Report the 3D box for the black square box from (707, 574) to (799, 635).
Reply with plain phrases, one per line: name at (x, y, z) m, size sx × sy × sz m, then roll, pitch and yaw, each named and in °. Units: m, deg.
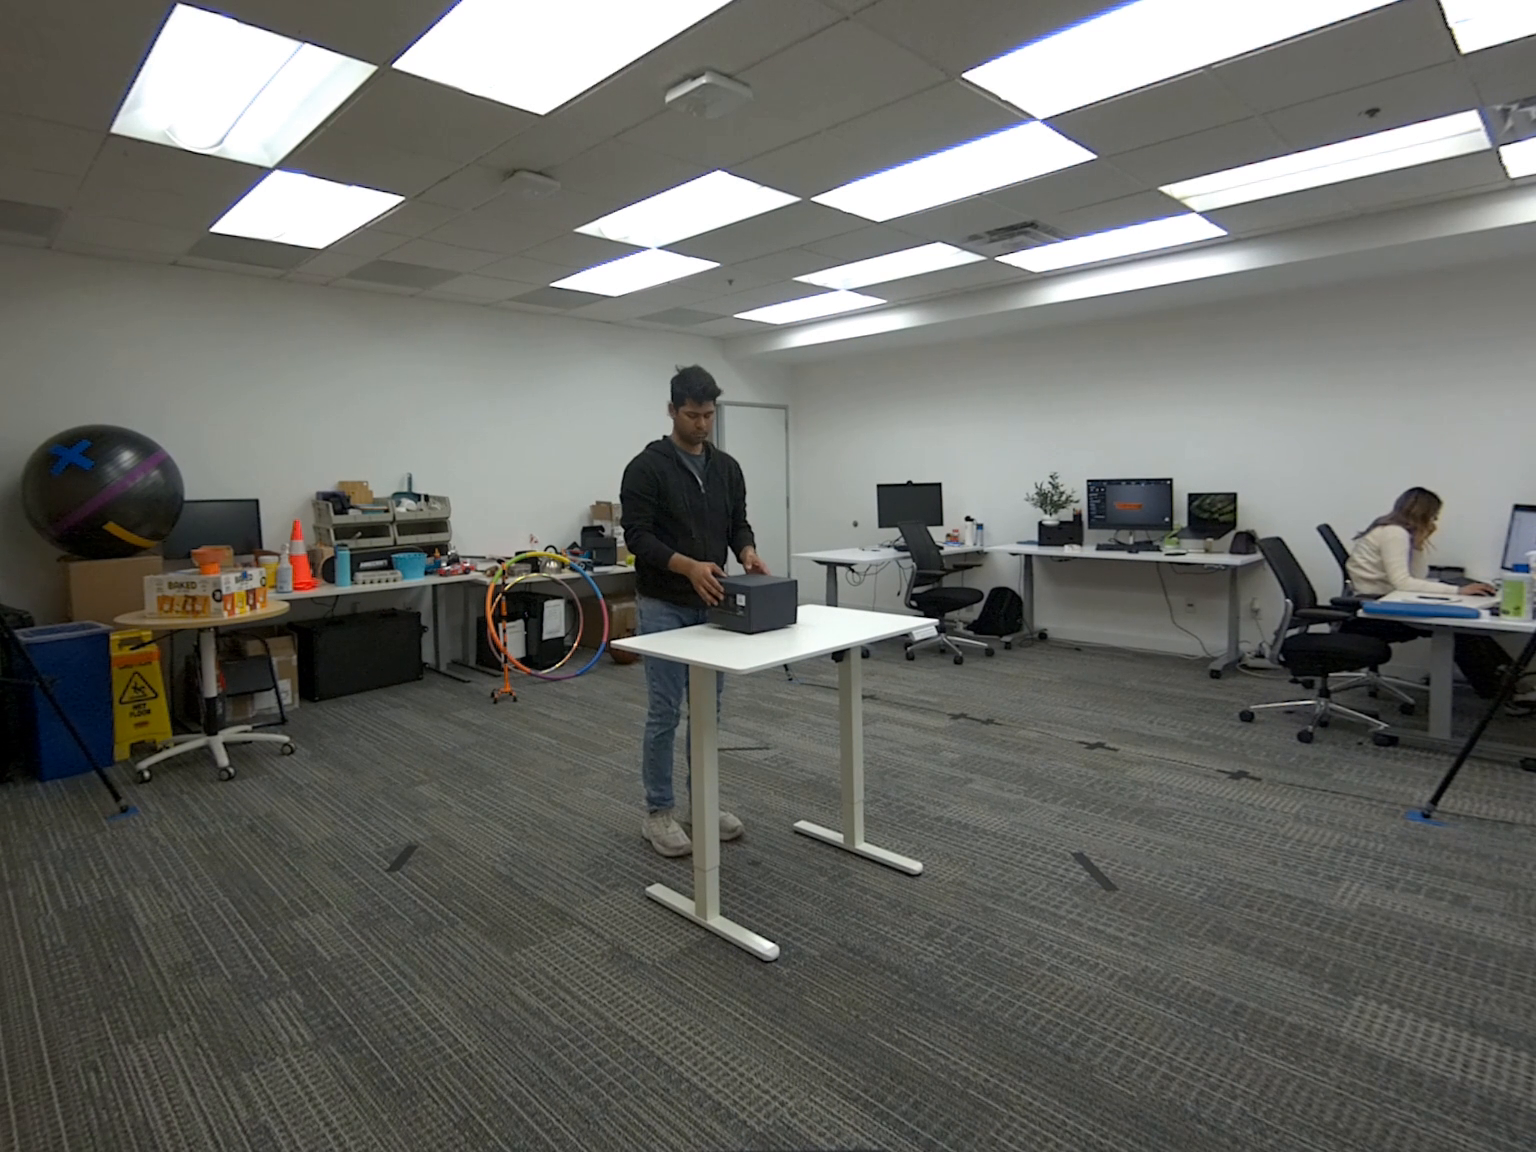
black square box at (-0.056, 0.082, 2.950) m, size 0.222 × 0.155 × 0.224 m, roll -6°, pitch 8°, yaw -42°
